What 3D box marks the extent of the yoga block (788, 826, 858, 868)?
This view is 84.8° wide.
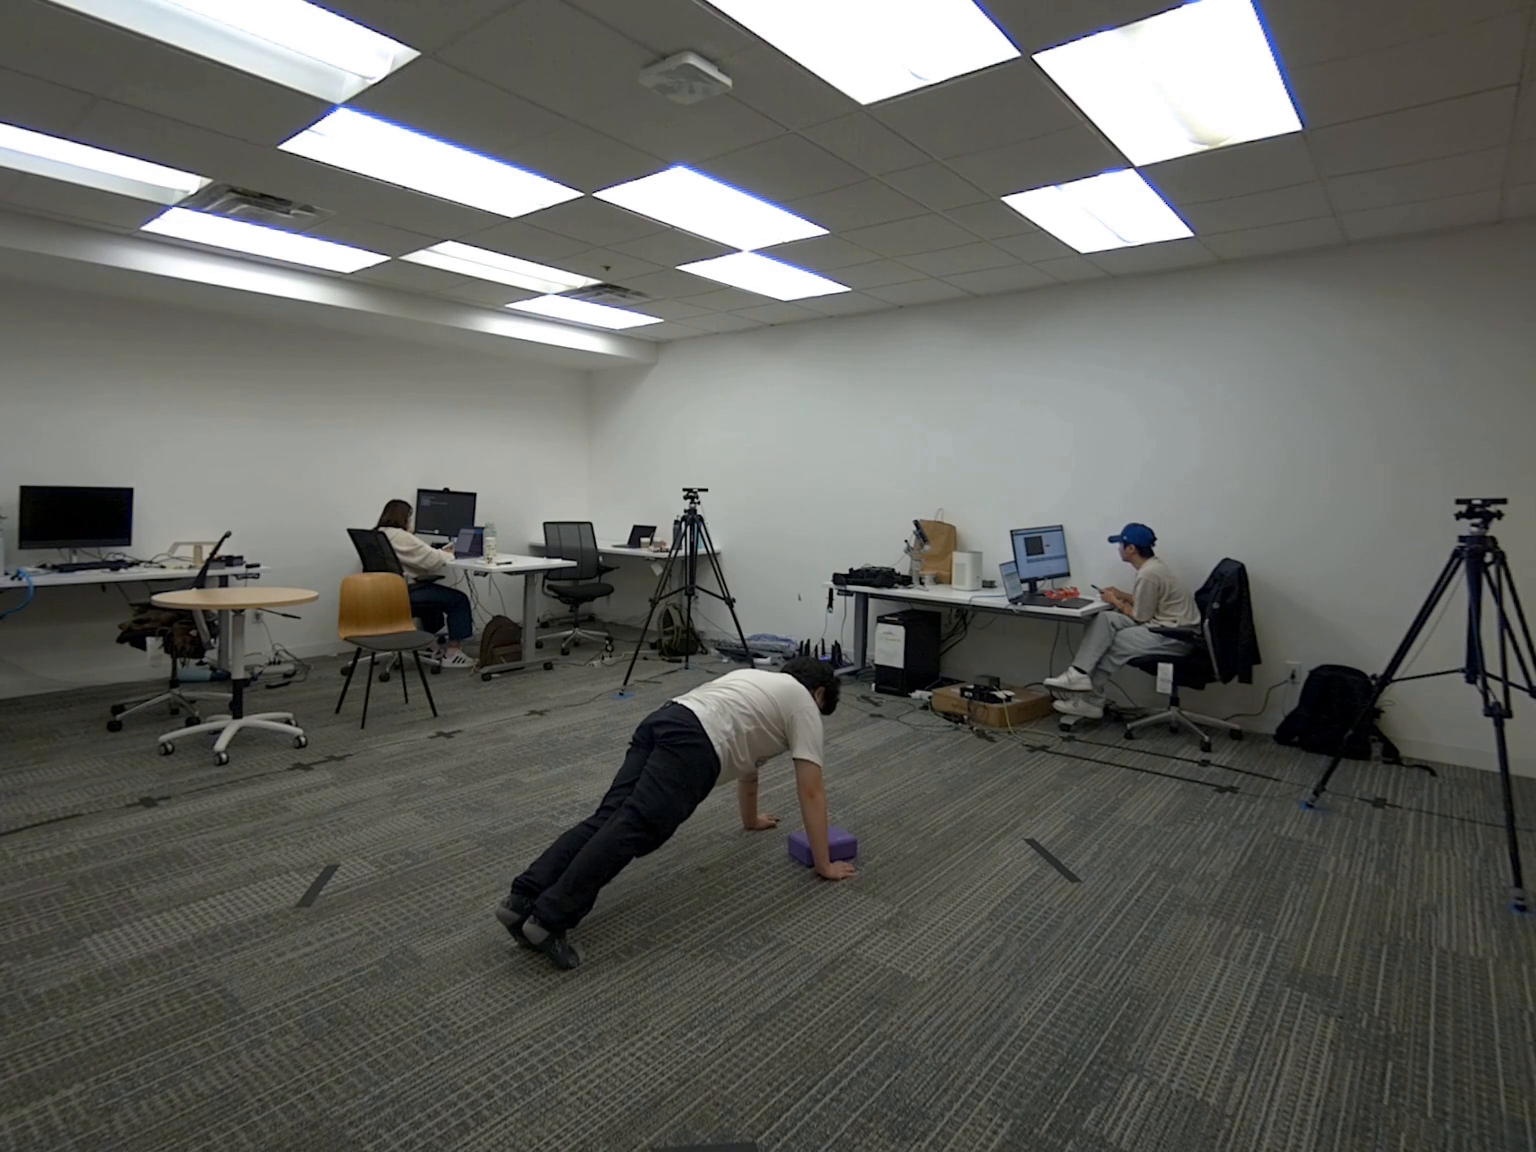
[{"bbox_3d":[0.196,1.021,3.250,0.223,0.076,0.153,-1,6,-29],"label":"yoga block"}]
